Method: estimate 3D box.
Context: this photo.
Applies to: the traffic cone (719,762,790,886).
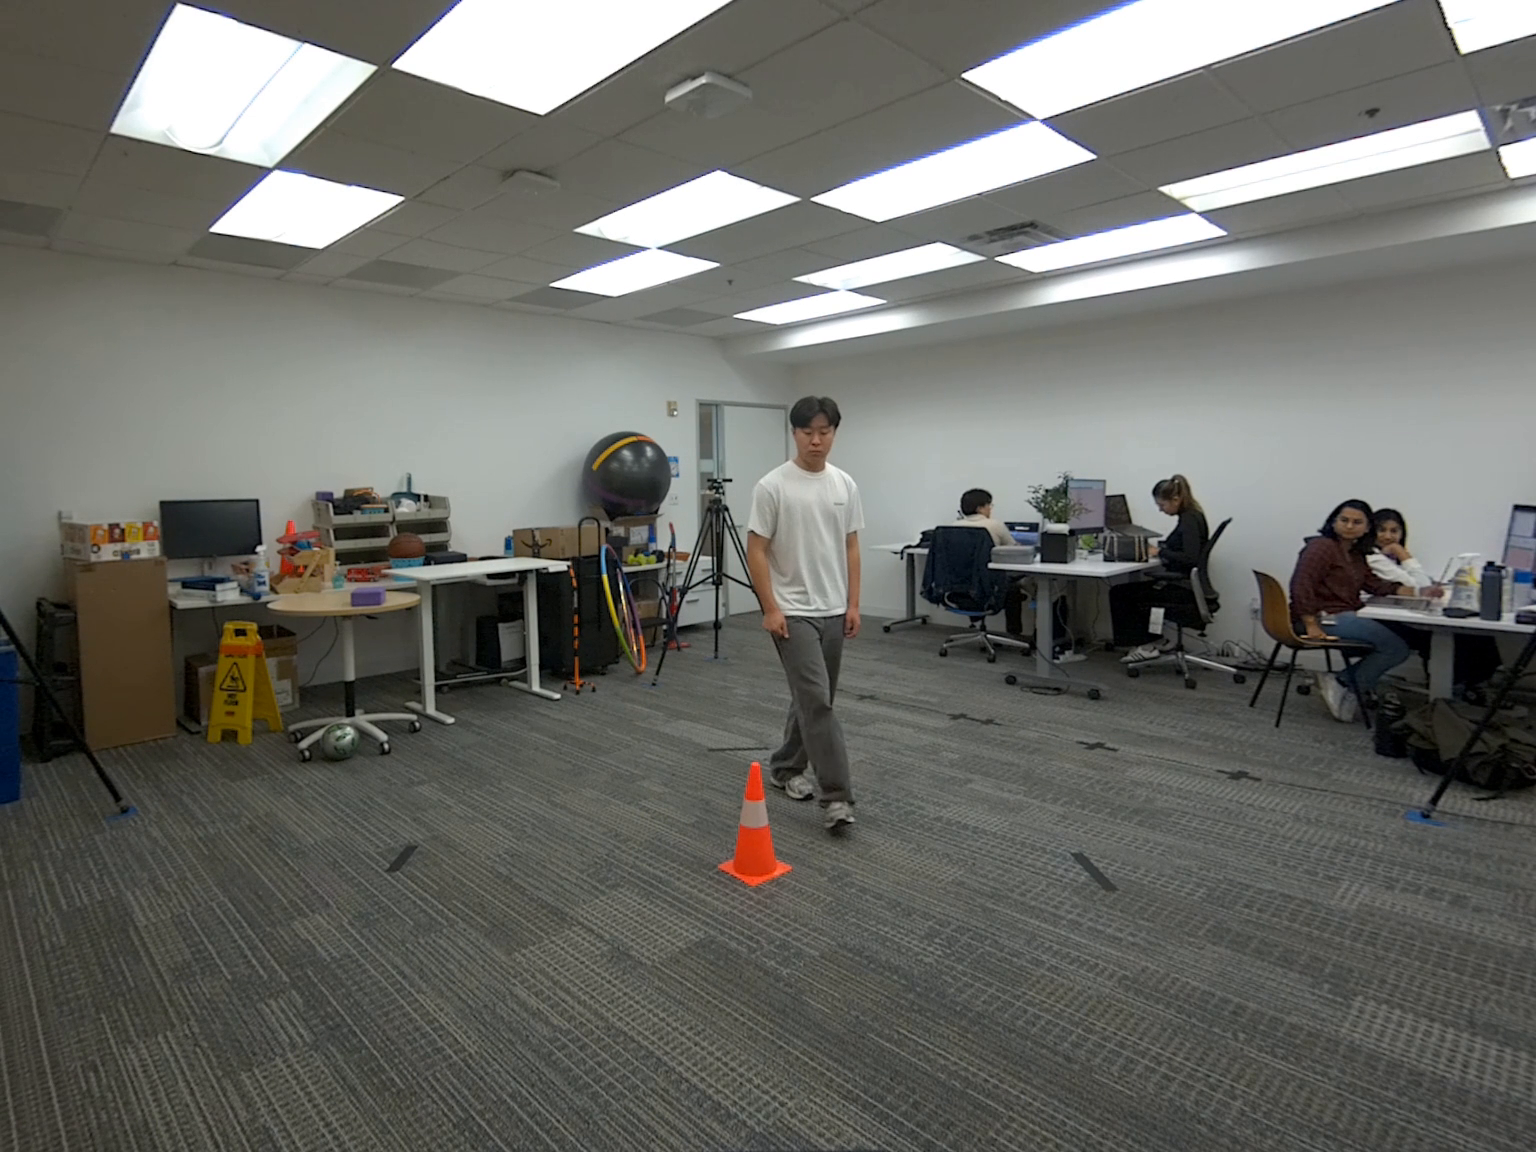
[{"bbox_3d":[-0.045,0.866,3.071,0.211,0.383,0.198,2,3,44],"label":"traffic cone"}]
